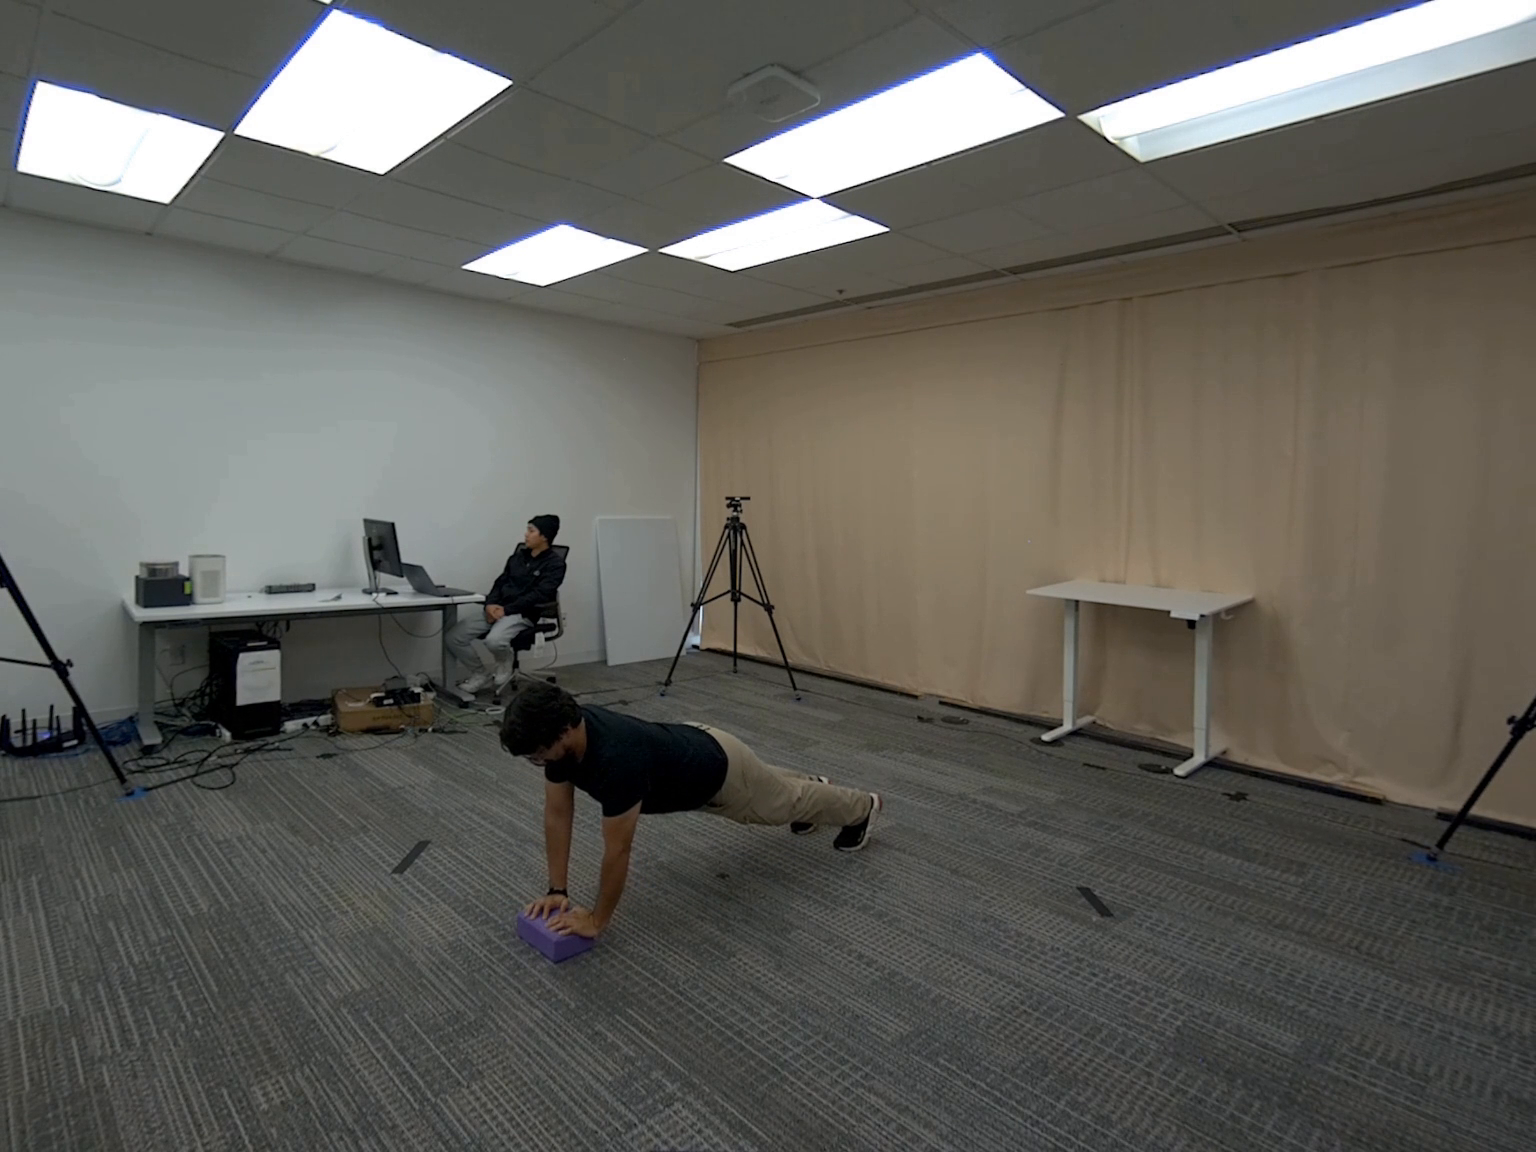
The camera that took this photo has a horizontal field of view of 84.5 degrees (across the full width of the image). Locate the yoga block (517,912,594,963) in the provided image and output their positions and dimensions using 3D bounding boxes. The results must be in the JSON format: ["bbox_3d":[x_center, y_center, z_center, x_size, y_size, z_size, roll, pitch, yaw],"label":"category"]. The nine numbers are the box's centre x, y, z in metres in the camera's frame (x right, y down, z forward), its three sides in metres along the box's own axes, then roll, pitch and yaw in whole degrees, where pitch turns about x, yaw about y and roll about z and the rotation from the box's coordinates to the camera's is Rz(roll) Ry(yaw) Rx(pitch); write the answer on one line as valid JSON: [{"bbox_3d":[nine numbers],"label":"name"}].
[{"bbox_3d":[-0.671,1.106,2.619,0.235,0.076,0.146,6,7,44],"label":"yoga block"}]
